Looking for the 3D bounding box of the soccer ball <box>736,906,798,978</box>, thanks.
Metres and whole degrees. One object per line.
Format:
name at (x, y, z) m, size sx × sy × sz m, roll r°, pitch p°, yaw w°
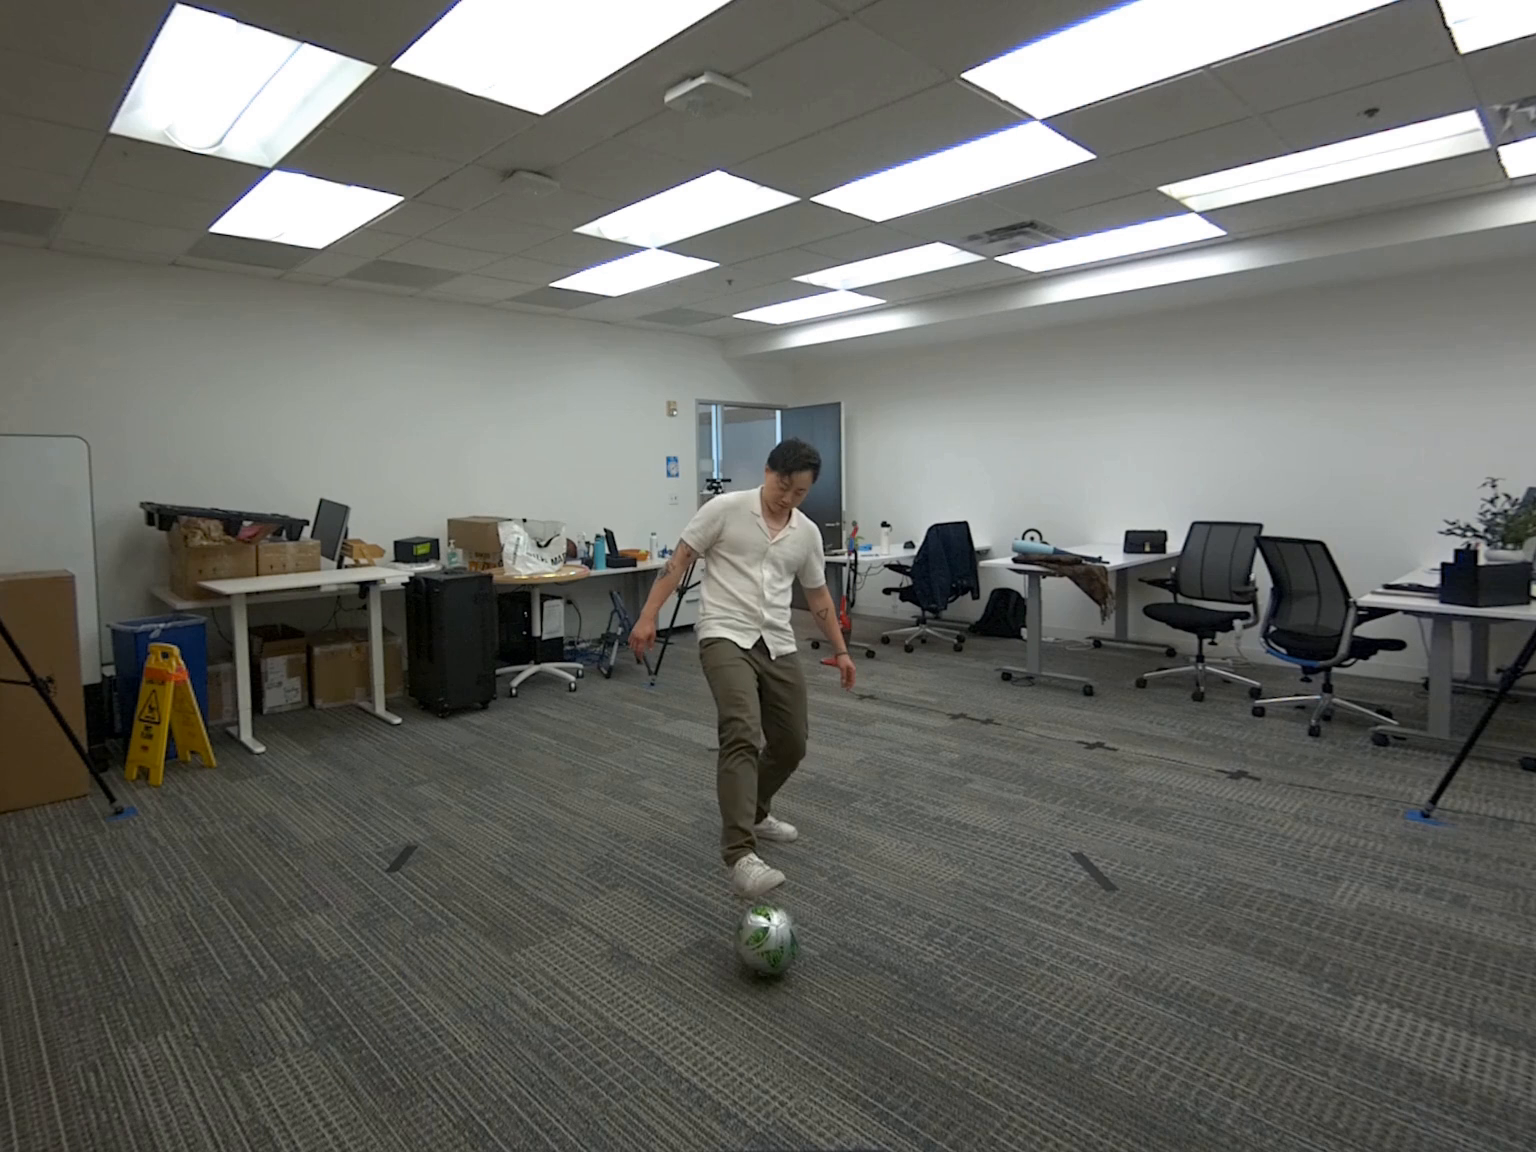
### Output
soccer ball at (0.001, 1.036, 2.419) m, size 0.187 × 0.187 × 0.188 m, roll -1°, pitch 5°, yaw -2°
